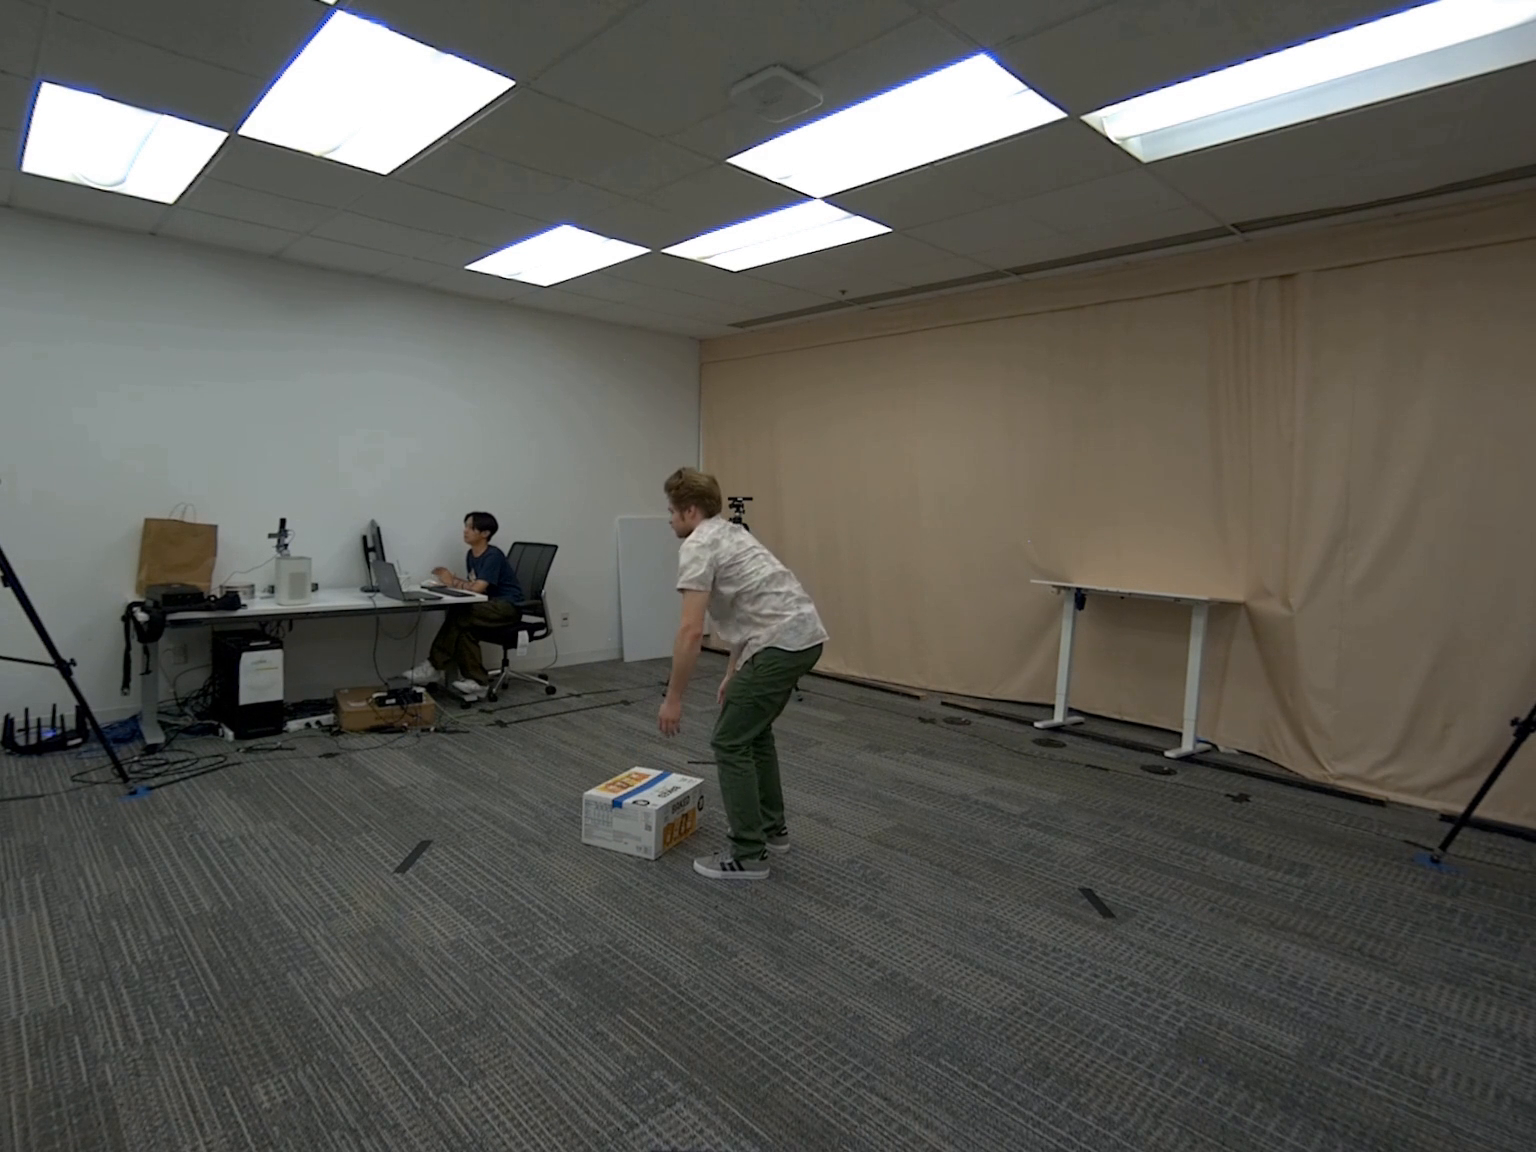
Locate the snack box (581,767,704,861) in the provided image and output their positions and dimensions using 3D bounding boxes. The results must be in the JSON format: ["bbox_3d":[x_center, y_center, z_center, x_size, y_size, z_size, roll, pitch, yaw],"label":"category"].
[{"bbox_3d":[-0.519,0.967,3.463,0.347,0.205,0.398,3,5,24],"label":"snack box"}]
